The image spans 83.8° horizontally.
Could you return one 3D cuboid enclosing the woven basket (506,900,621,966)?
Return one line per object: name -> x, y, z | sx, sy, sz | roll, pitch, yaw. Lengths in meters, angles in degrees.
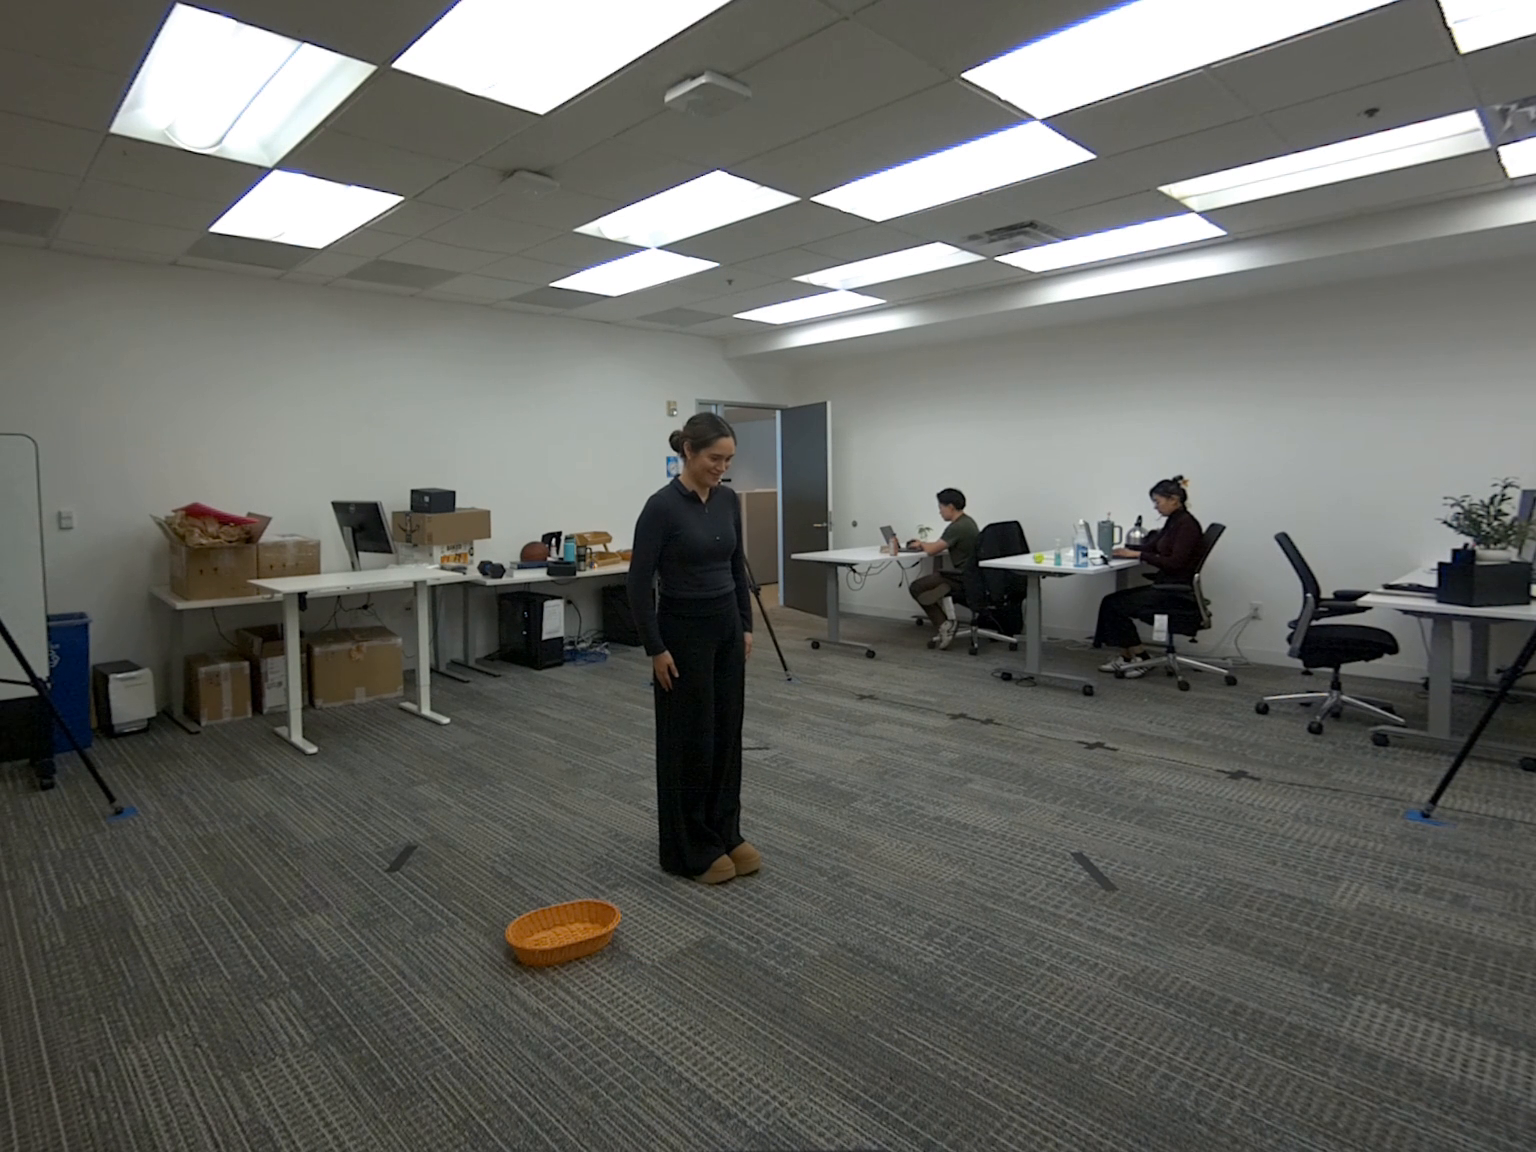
woven basket -> -0.607, 1.075, 2.579 | 0.344, 0.073, 0.258 | -4, 6, -22
